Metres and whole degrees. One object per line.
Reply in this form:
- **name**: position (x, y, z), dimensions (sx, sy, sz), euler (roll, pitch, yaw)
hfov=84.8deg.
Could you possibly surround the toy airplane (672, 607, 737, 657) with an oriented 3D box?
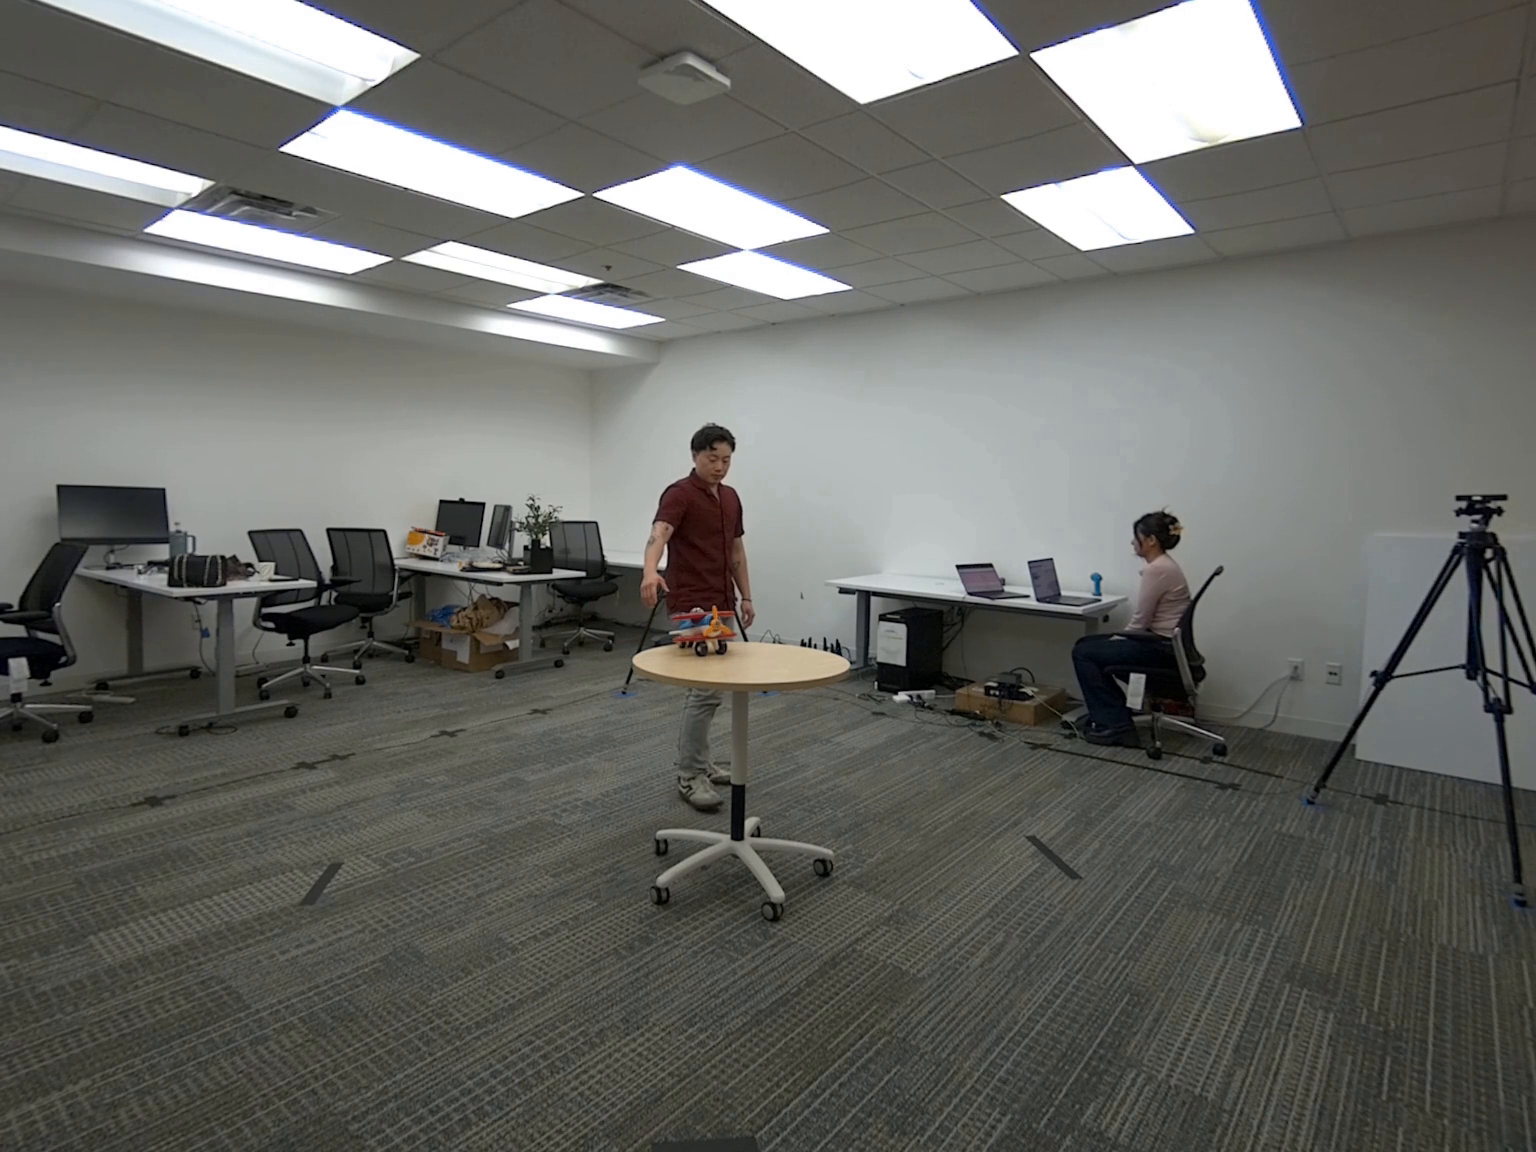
- **toy airplane**: position (-0.283, 0.201, 3.152), dimensions (0.266, 0.156, 0.245), euler (4, 4, 27)
